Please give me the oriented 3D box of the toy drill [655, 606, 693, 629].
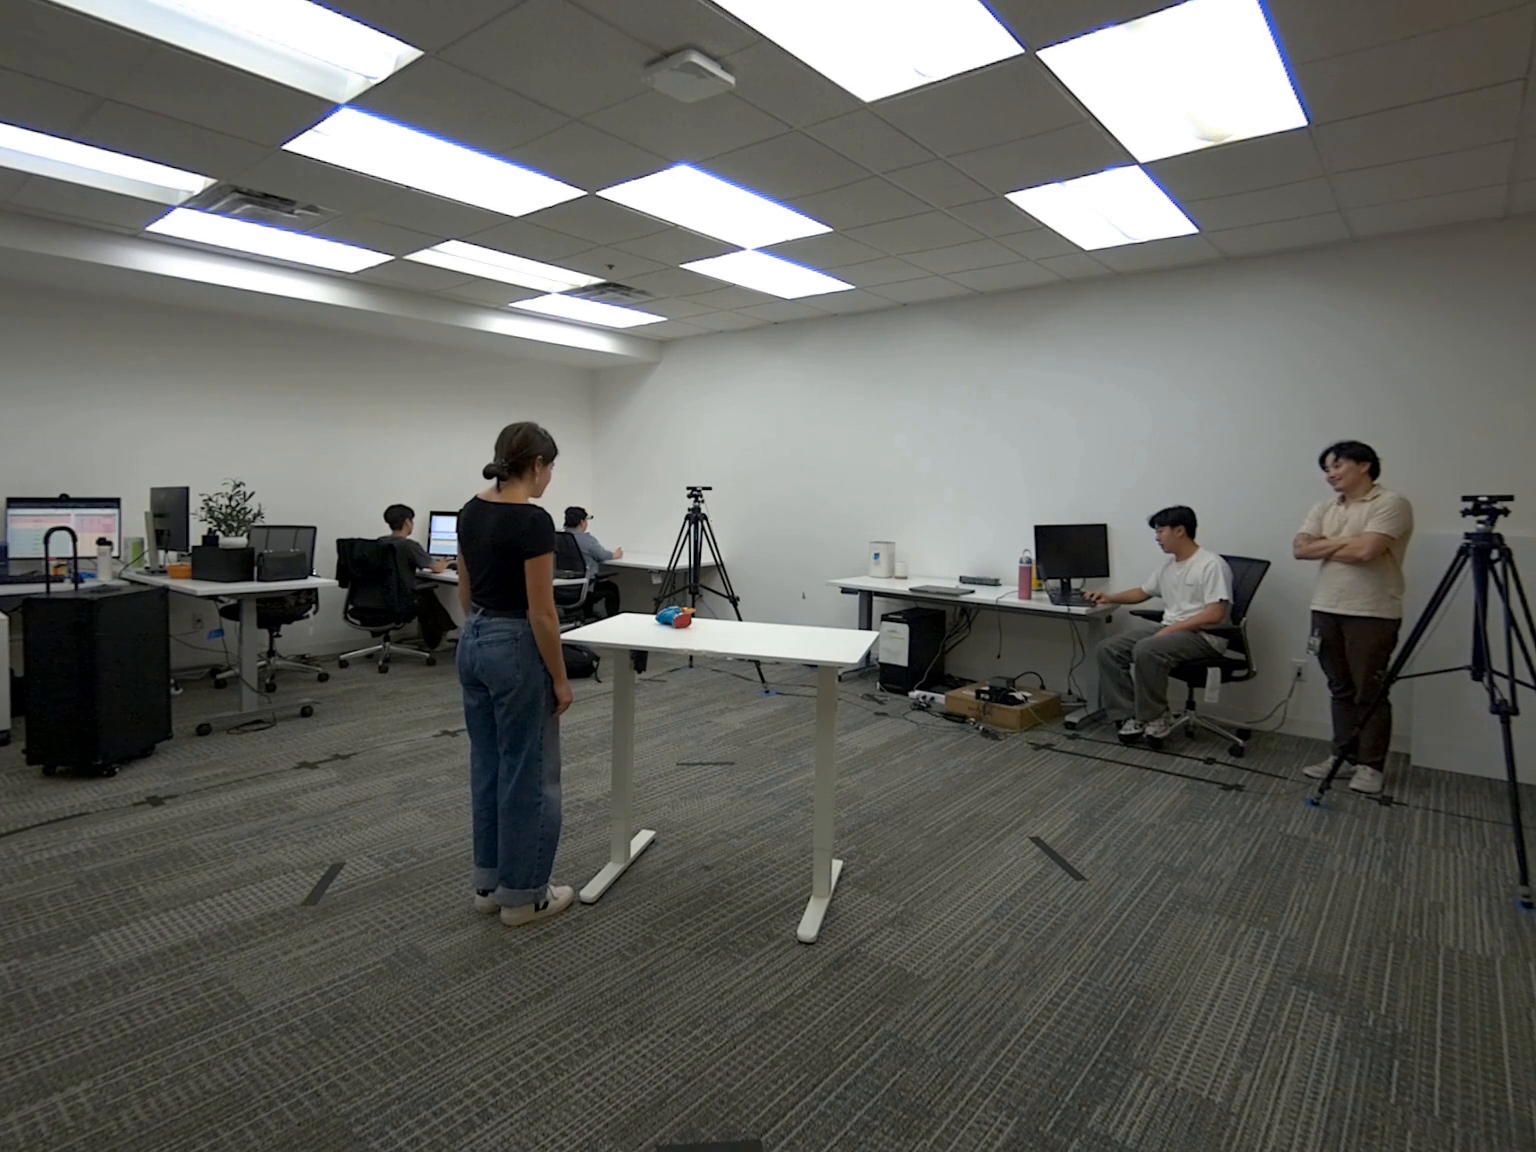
[{"bbox_3d":[-0.330,0.147,3.125,0.165,0.060,0.151,-9,12,-36],"label":"toy drill"}]
